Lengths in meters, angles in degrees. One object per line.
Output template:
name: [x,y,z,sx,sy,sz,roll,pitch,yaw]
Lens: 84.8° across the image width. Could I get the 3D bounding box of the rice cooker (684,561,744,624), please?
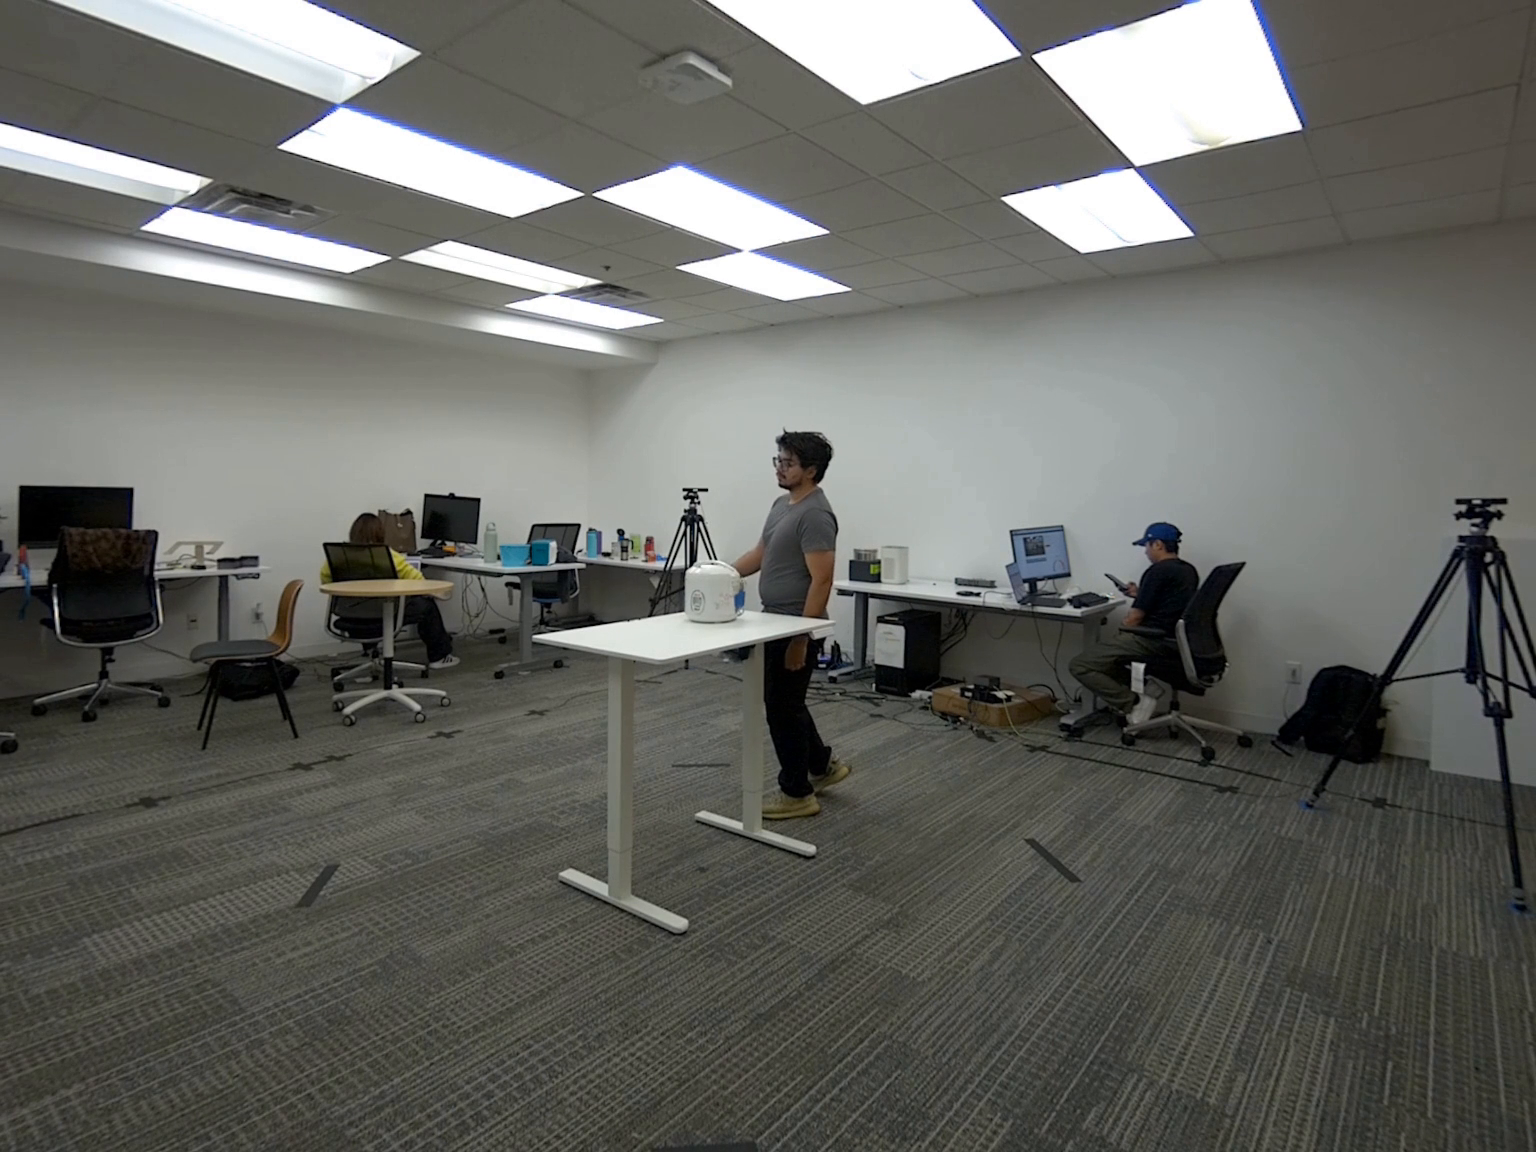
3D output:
rice cooker: [-0.224,0.052,3.280,0.227,0.232,0.212,2,3,28]
